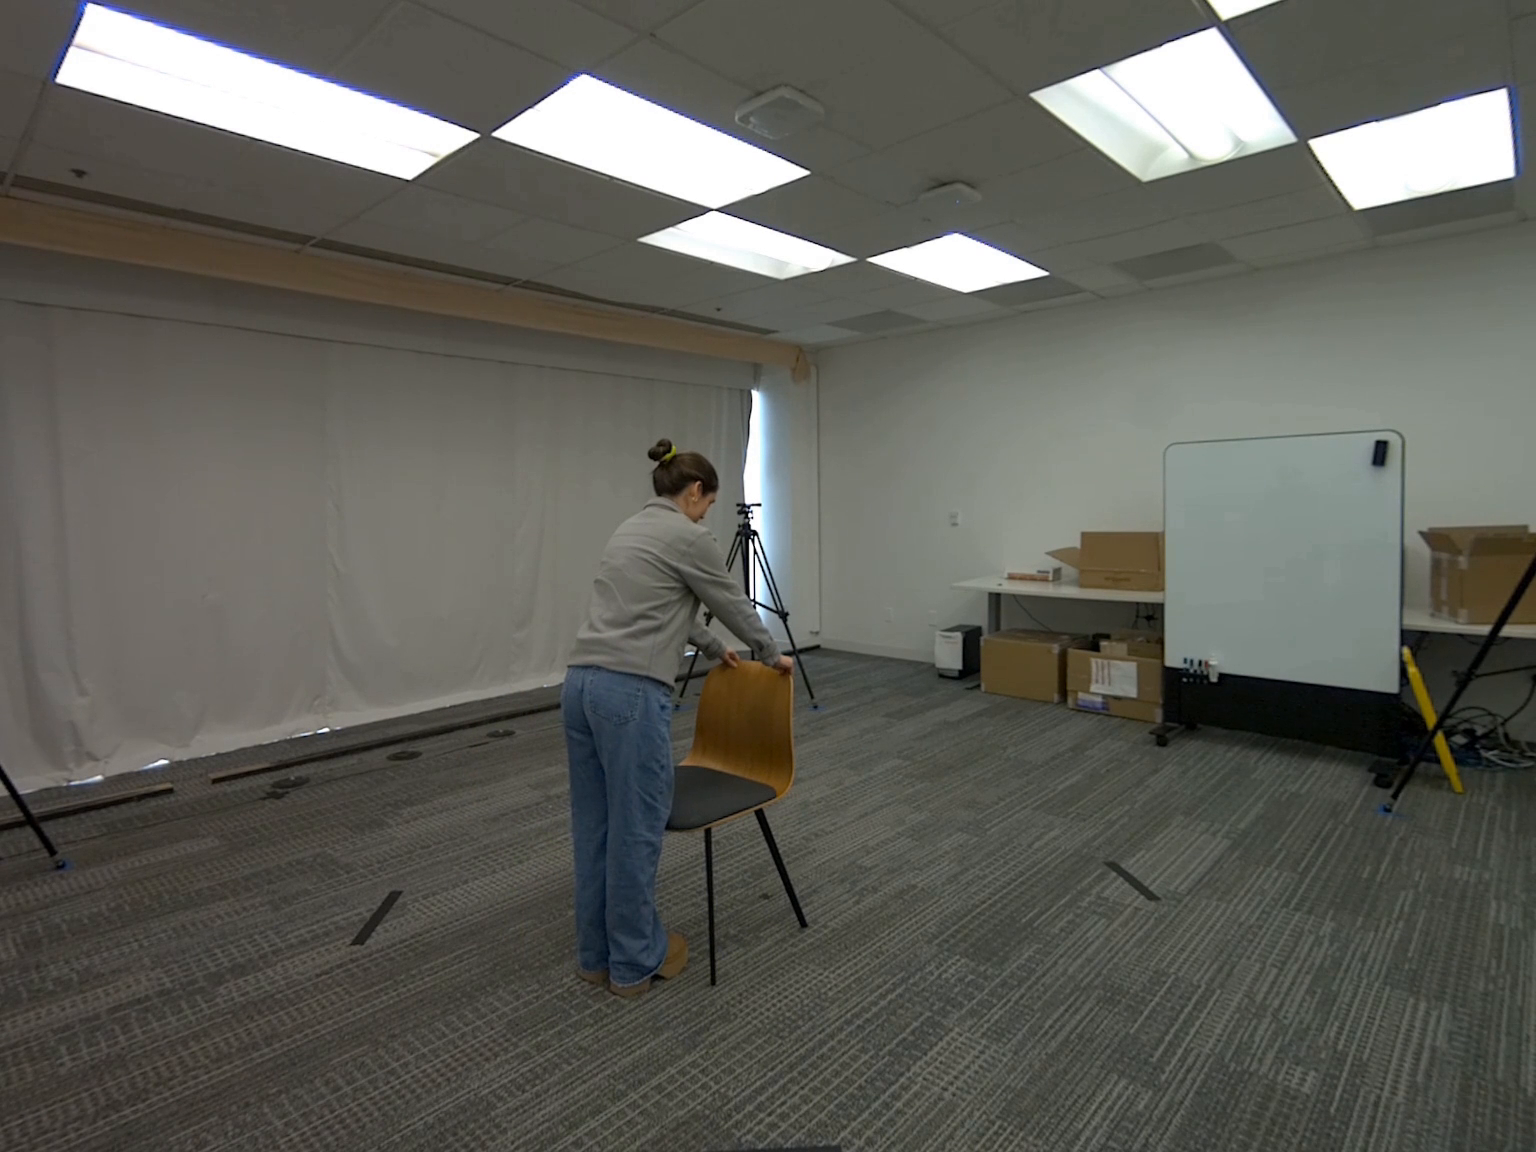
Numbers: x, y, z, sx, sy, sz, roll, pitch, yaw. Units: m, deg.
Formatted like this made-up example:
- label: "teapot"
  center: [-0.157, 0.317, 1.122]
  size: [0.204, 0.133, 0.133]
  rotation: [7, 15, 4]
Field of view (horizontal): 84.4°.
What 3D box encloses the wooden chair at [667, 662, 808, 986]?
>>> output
- label: "wooden chair"
  center: [-0.190, 0.738, 2.718]
  size: [0.494, 0.877, 0.506]
  rotation: [2, 1, 41]
